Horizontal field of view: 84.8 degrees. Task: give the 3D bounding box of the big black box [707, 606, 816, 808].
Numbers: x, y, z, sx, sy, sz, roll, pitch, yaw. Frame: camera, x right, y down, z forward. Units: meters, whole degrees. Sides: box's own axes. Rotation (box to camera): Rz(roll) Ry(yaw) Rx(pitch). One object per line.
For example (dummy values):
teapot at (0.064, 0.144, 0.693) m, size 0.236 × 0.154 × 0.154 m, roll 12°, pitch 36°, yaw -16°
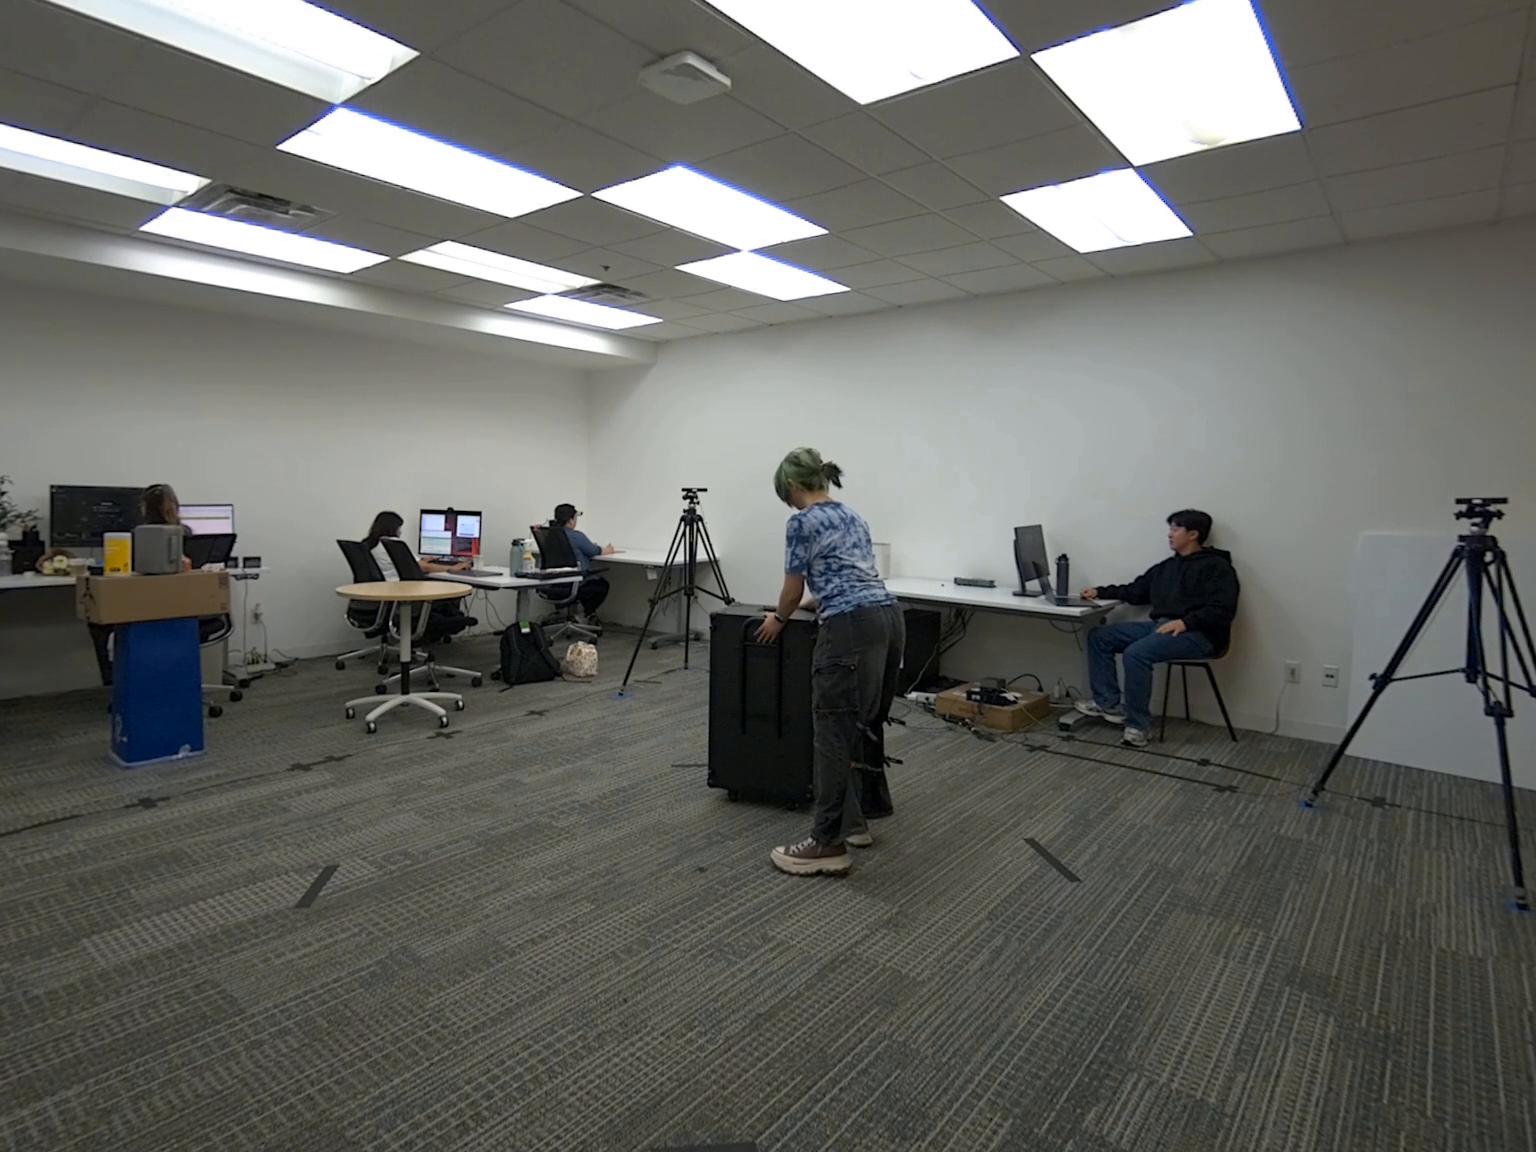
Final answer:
big black box at (0.007, 0.581, 3.834) m, size 0.532 × 0.859 × 0.389 m, roll 3°, pitch 4°, yaw 19°
